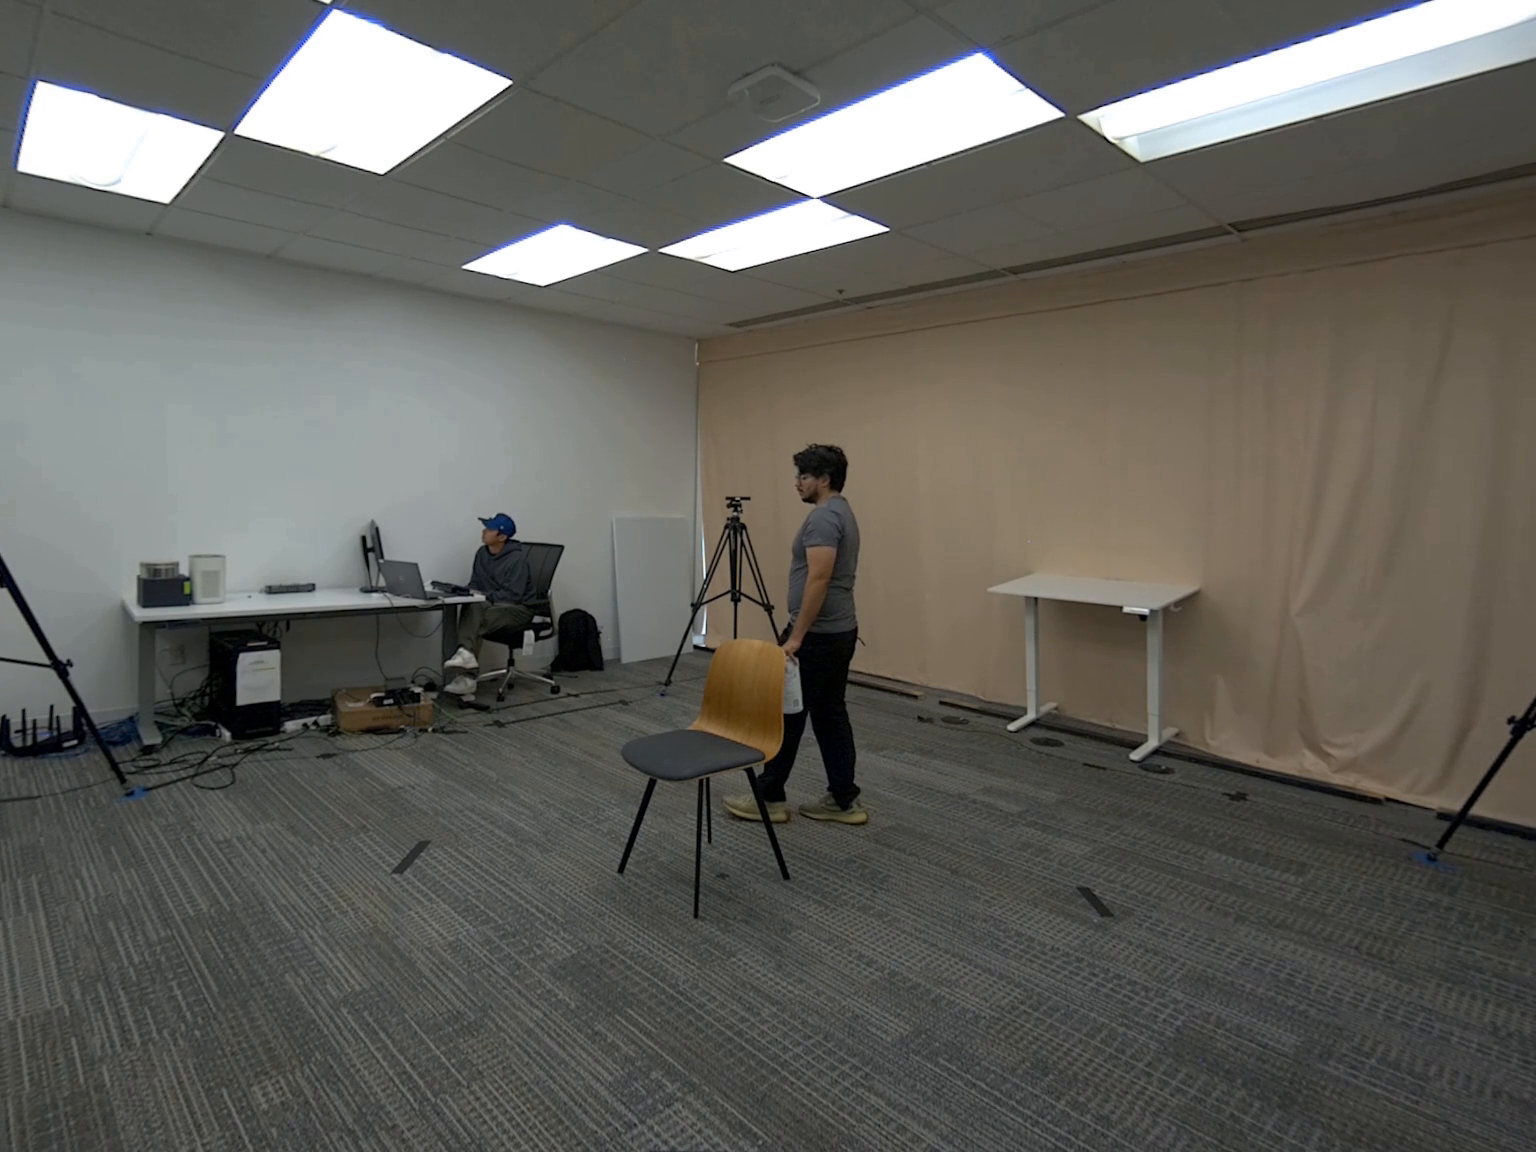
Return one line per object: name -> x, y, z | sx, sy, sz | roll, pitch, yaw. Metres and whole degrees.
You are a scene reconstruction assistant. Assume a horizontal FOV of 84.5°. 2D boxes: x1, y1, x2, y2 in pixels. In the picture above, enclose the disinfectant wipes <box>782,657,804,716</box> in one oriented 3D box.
disinfectant wipes -> 0.074, 0.448, 3.455 | 0.118, 0.216, 0.118 | -3, 6, -1
